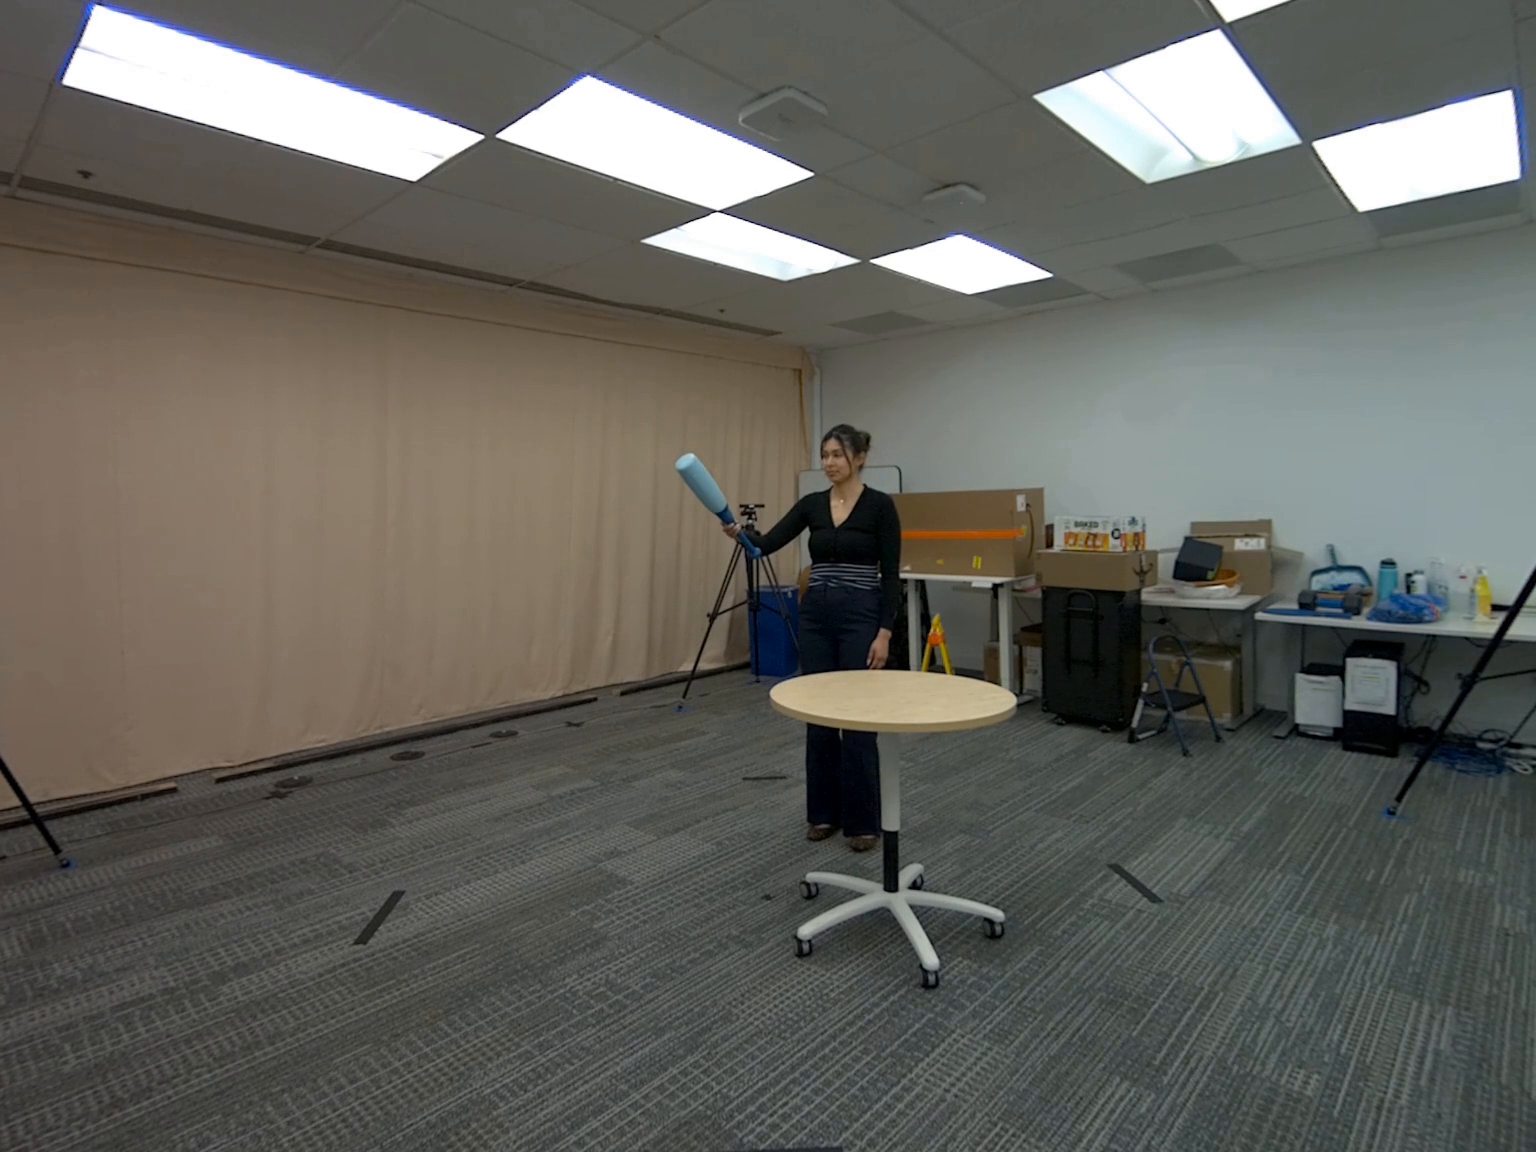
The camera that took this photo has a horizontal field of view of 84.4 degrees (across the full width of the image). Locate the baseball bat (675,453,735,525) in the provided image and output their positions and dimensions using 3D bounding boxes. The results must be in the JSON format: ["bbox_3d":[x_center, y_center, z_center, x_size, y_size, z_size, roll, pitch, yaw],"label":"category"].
[{"bbox_3d":[-0.171,-0.246,3.152,0.092,0.089,0.525,2,-38,42],"label":"baseball bat"}]
